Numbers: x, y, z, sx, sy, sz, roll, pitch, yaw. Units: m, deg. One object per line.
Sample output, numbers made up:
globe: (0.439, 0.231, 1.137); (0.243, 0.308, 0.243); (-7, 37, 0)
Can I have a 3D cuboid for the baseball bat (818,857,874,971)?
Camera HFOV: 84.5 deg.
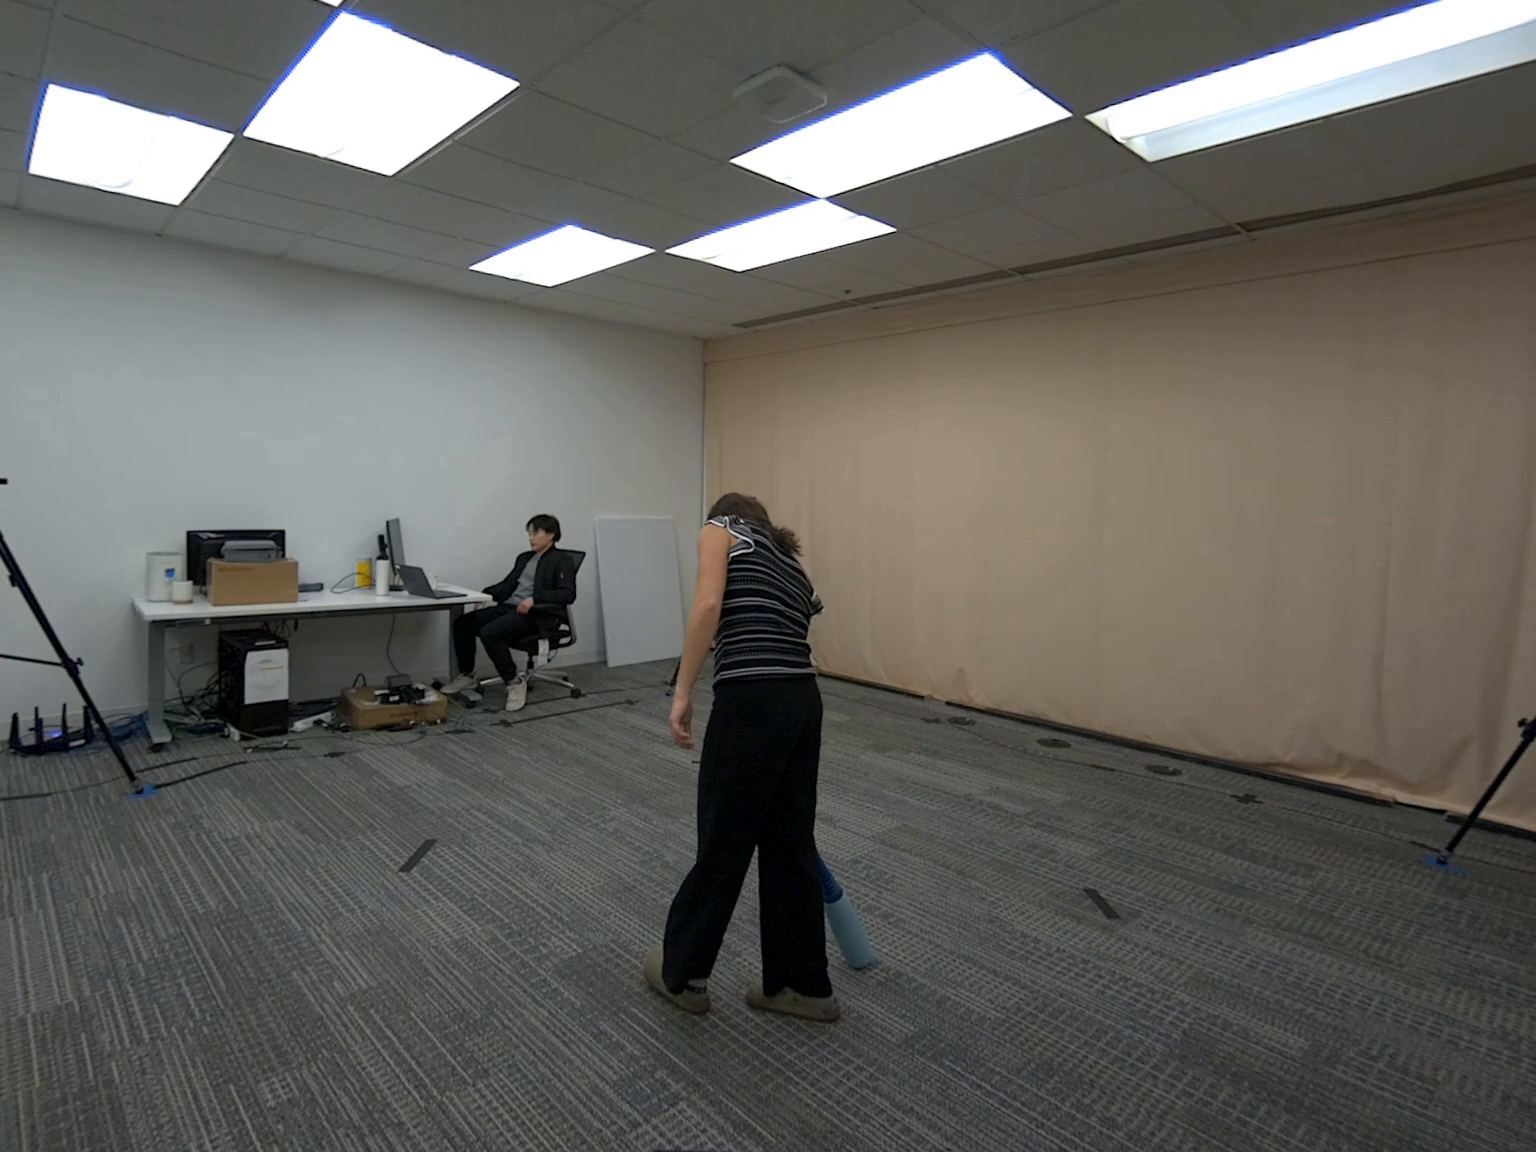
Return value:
baseball bat: (0.177, 0.926, 2.462); (0.089, 0.535, 0.090); (-20, 16, 5)
